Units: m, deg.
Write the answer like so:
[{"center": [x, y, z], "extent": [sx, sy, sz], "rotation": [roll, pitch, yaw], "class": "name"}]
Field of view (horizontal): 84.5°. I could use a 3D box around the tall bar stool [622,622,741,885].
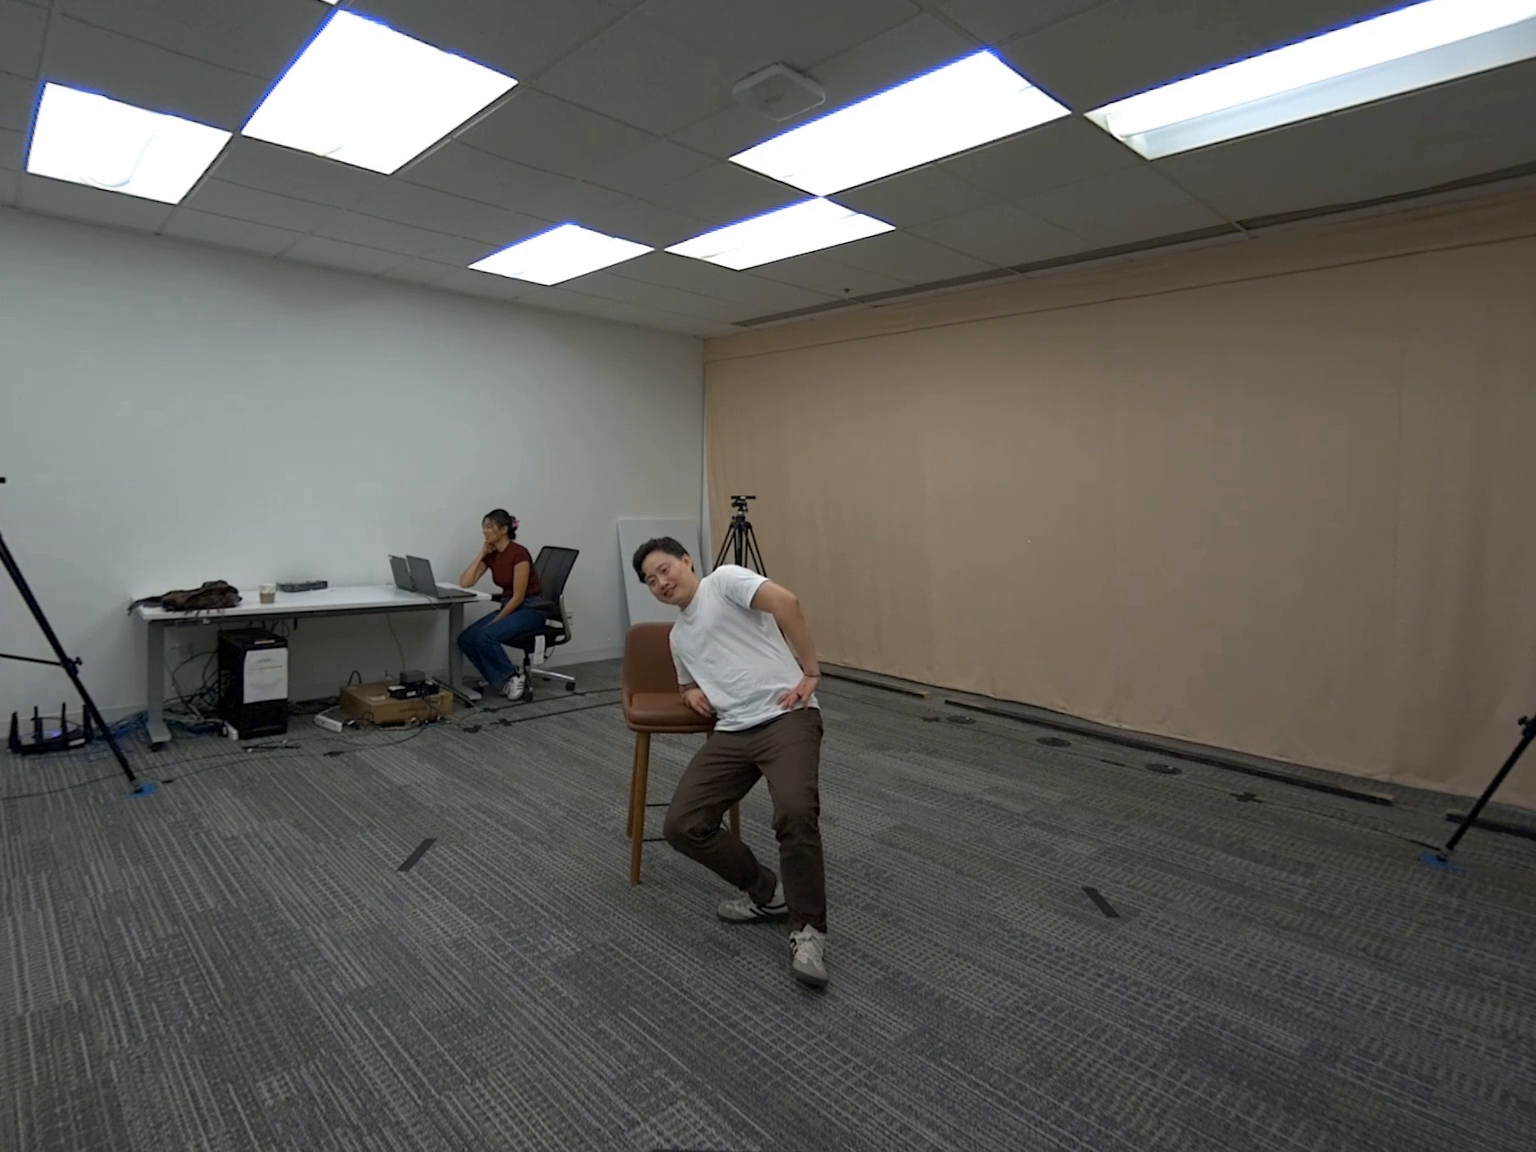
[{"center": [-0.344, 0.650, 3.246], "extent": [0.452, 0.888, 0.473], "rotation": [1, 2, -13], "class": "tall bar stool"}]
